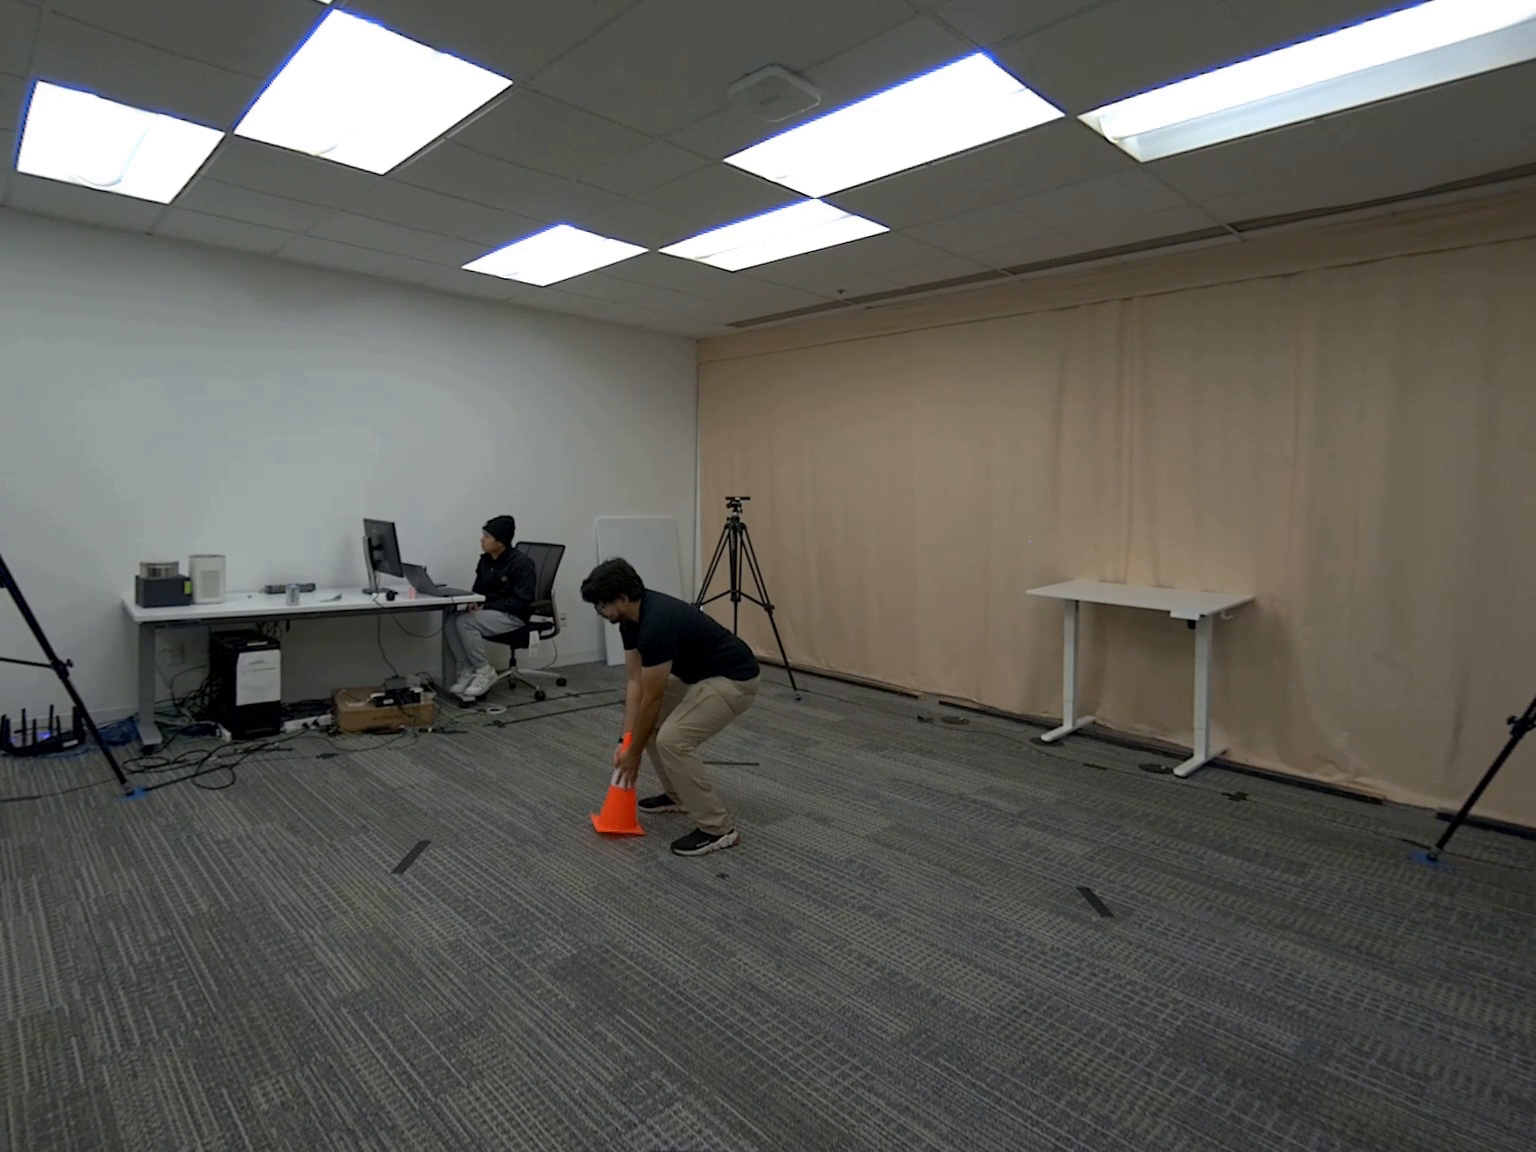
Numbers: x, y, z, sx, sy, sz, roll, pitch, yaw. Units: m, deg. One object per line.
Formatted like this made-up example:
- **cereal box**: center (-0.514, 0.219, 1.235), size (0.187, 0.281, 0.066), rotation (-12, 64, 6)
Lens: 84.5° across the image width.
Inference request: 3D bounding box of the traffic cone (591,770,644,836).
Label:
- **traffic cone**: center (-0.613, 0.842, 3.495), size (0.200, 0.383, 0.209), rotation (8, 3, -22)
